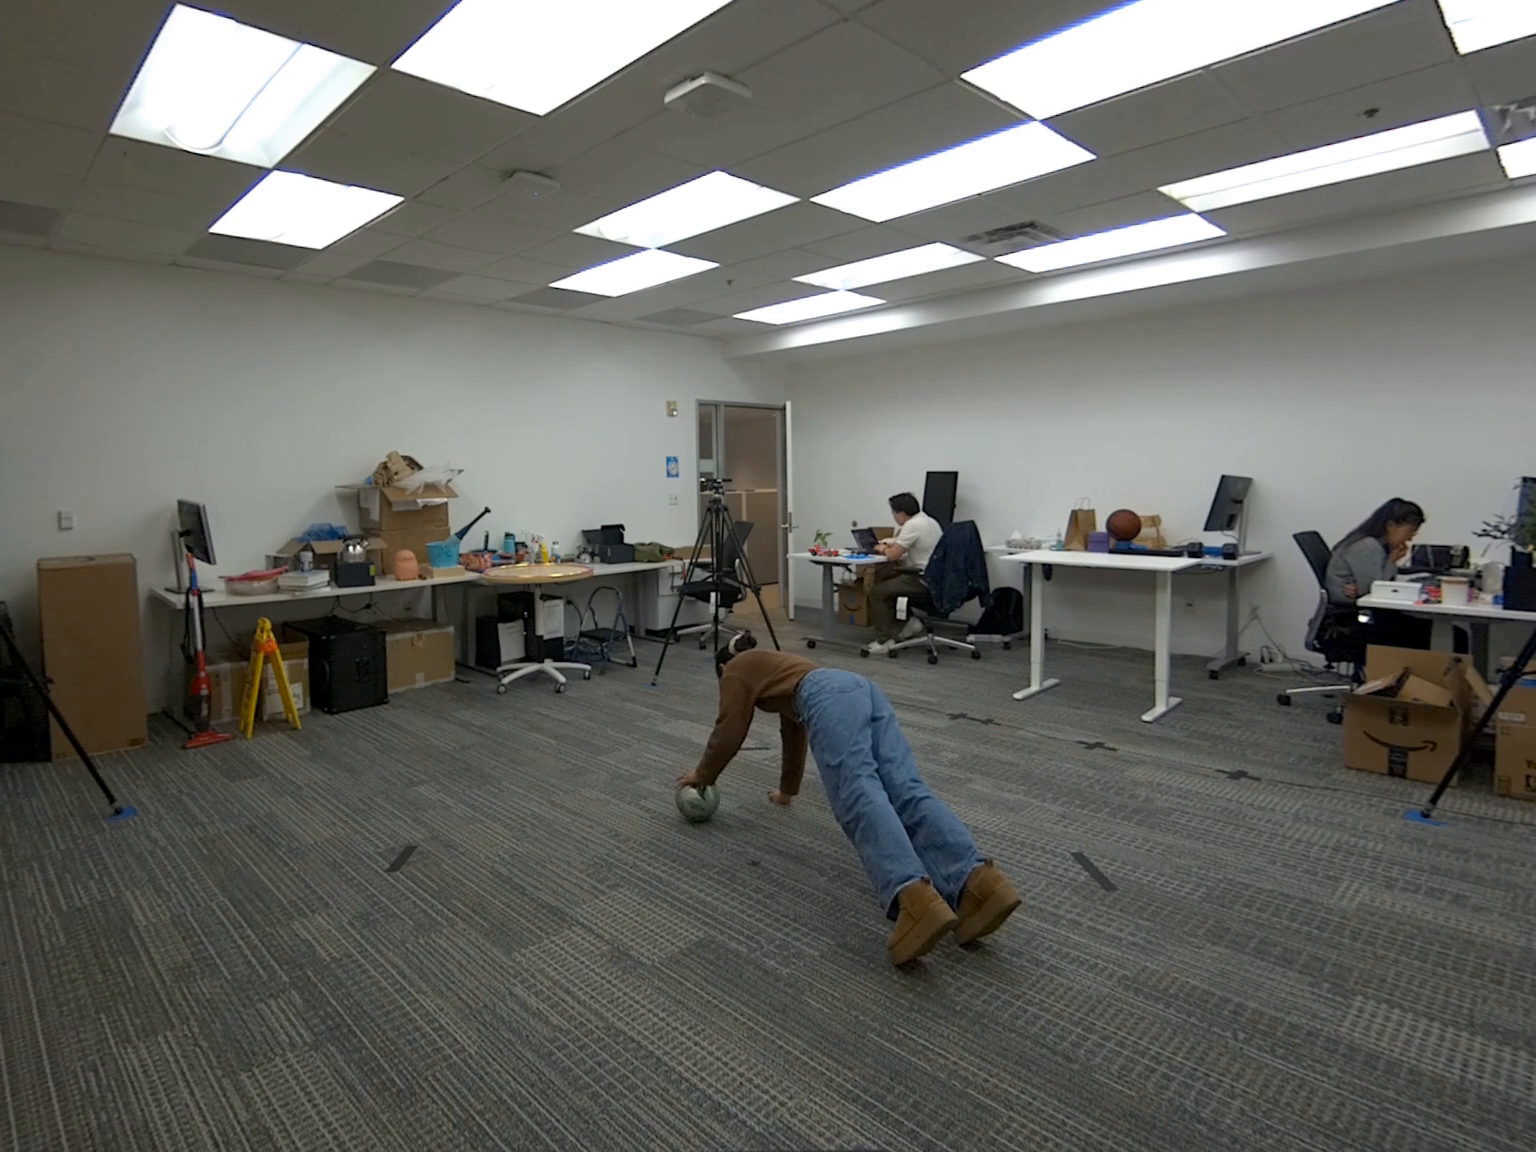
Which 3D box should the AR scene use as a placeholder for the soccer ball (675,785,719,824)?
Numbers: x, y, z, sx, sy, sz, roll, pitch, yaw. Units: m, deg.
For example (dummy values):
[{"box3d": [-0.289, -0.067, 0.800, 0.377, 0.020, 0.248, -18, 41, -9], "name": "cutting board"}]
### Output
[{"box3d": [-0.282, 0.912, 3.520, 0.187, 0.187, 0.188, -1, 5, -2], "name": "soccer ball"}]
